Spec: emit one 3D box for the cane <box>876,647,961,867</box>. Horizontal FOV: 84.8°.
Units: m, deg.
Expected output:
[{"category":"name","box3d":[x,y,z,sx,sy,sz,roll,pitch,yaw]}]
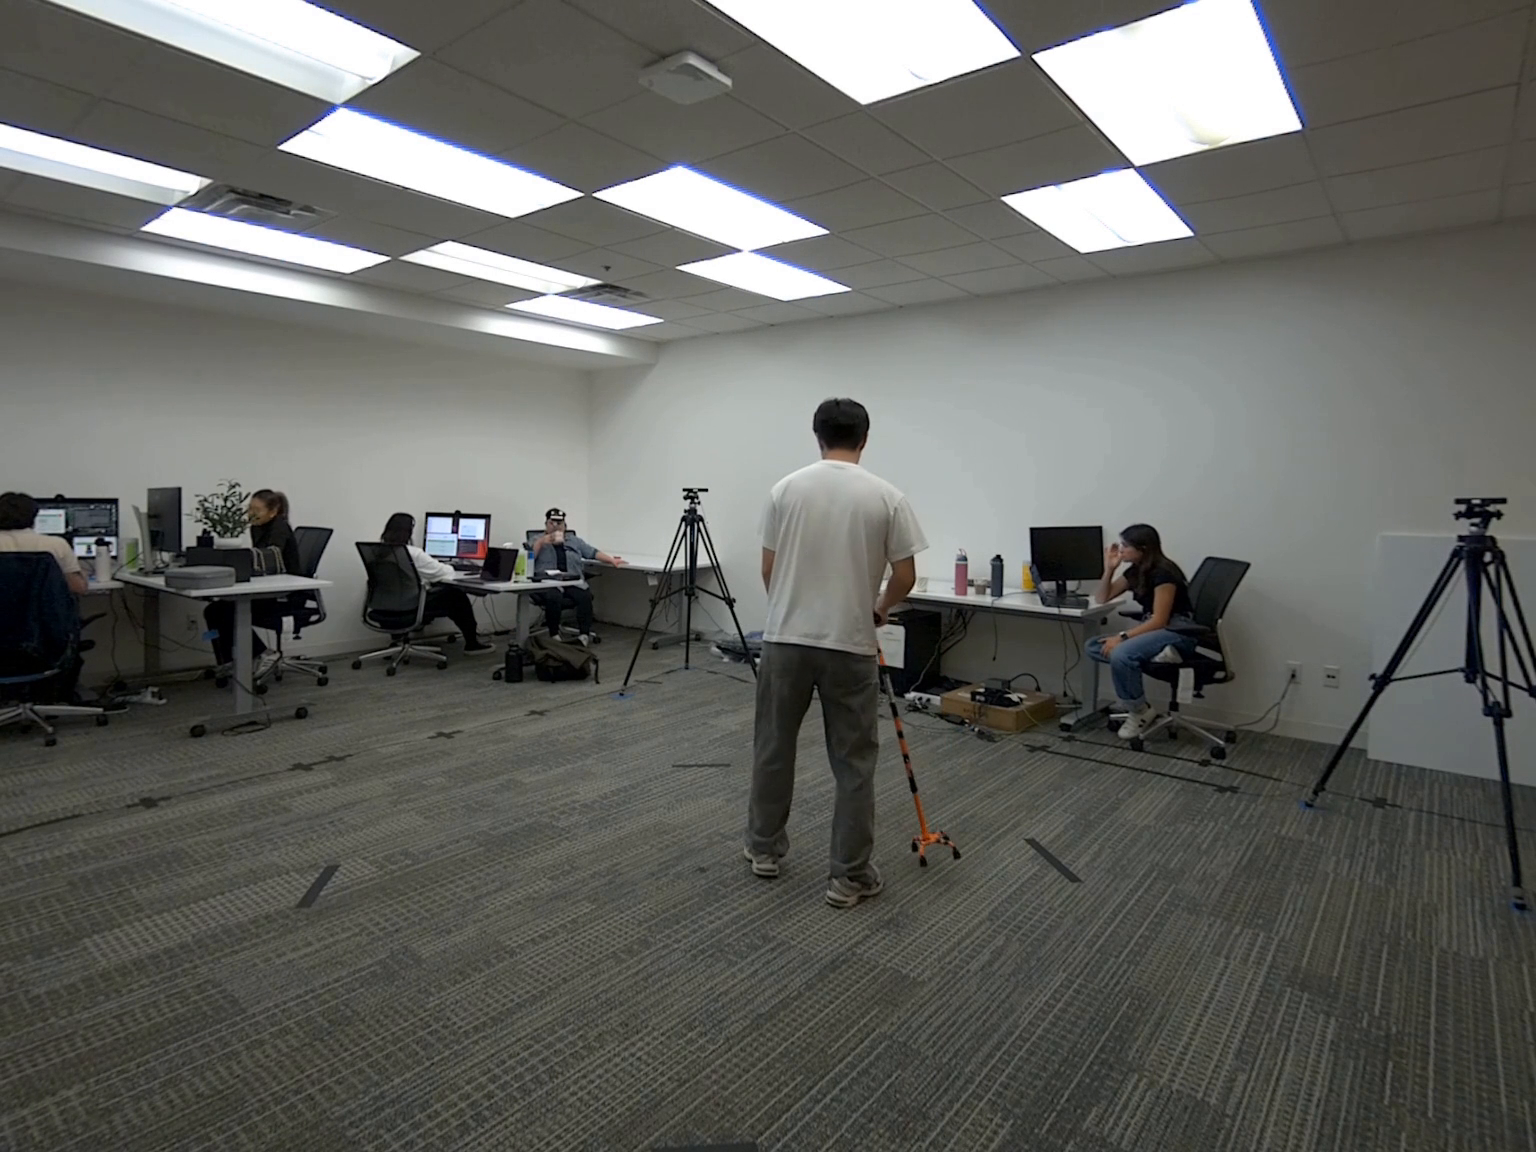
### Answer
[{"category":"cane","box3d":[0.510,0.587,3.180,0.152,0.914,0.205,-13,-6,1]}]
